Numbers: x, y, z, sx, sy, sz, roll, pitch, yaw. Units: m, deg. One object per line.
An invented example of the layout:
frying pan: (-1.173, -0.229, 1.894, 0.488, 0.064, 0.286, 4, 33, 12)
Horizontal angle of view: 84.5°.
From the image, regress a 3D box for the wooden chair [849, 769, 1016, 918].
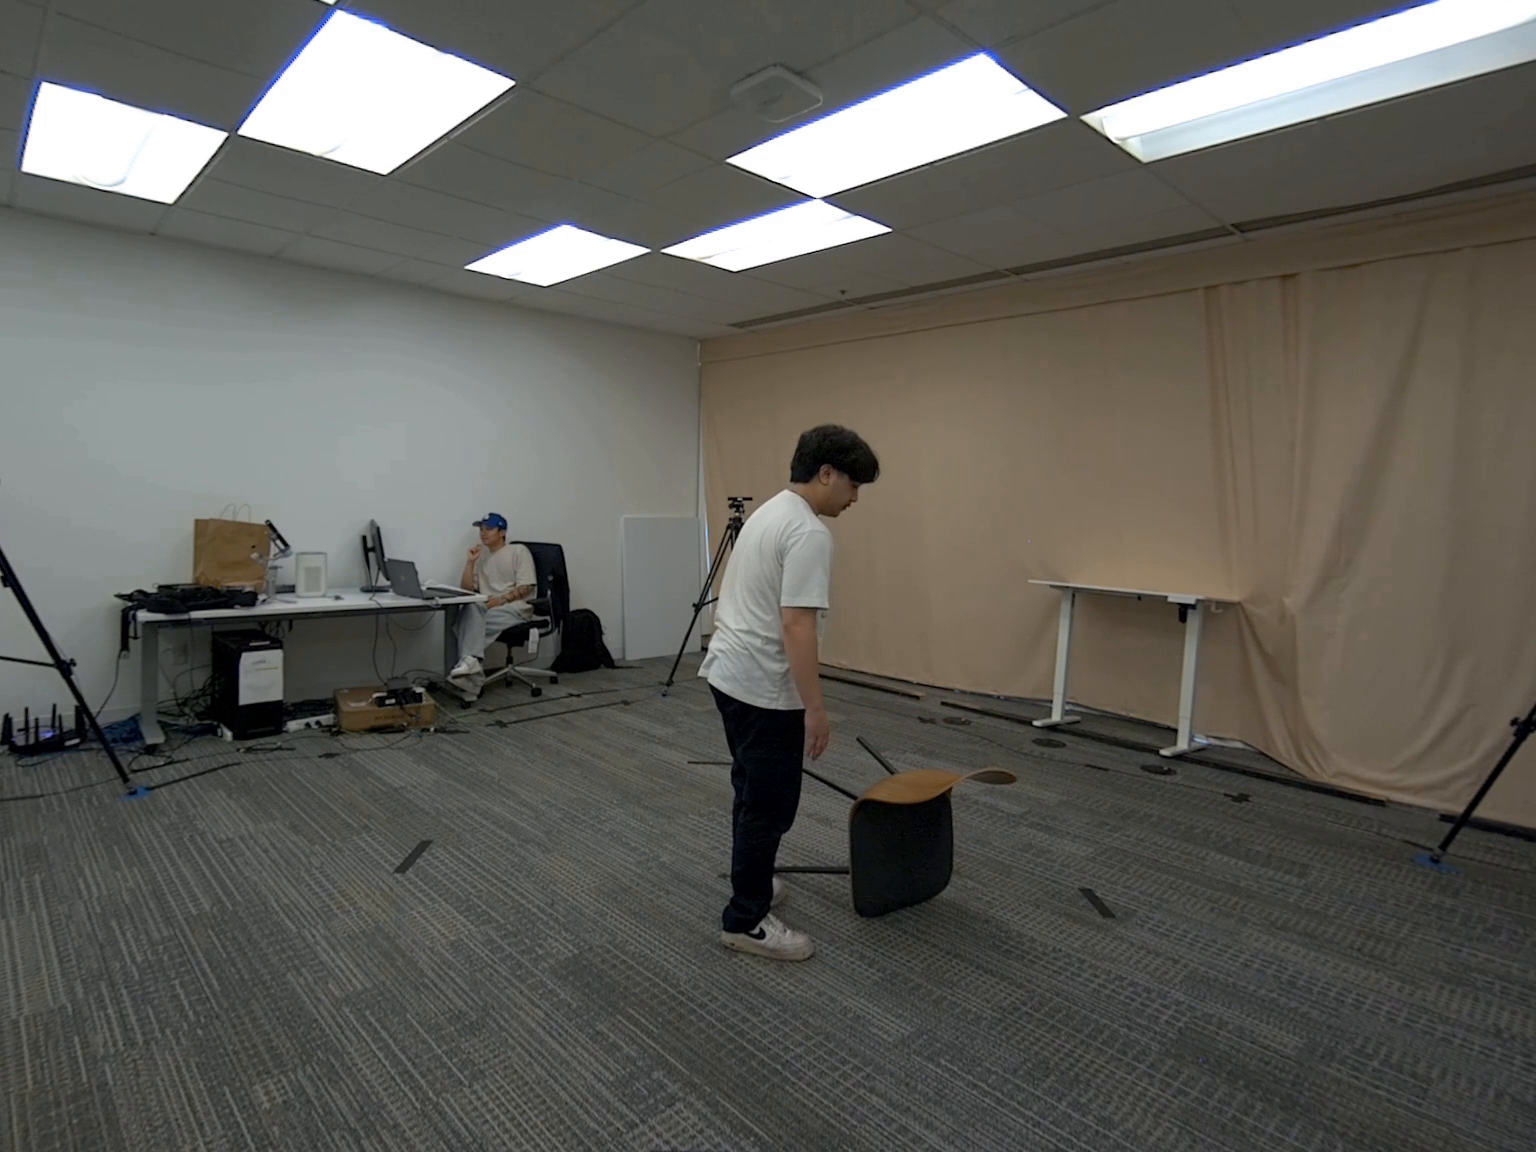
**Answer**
wooden chair: (0.428, 0.885, 2.911, 0.467, 0.525, 0.894, 0, -4, -35)
